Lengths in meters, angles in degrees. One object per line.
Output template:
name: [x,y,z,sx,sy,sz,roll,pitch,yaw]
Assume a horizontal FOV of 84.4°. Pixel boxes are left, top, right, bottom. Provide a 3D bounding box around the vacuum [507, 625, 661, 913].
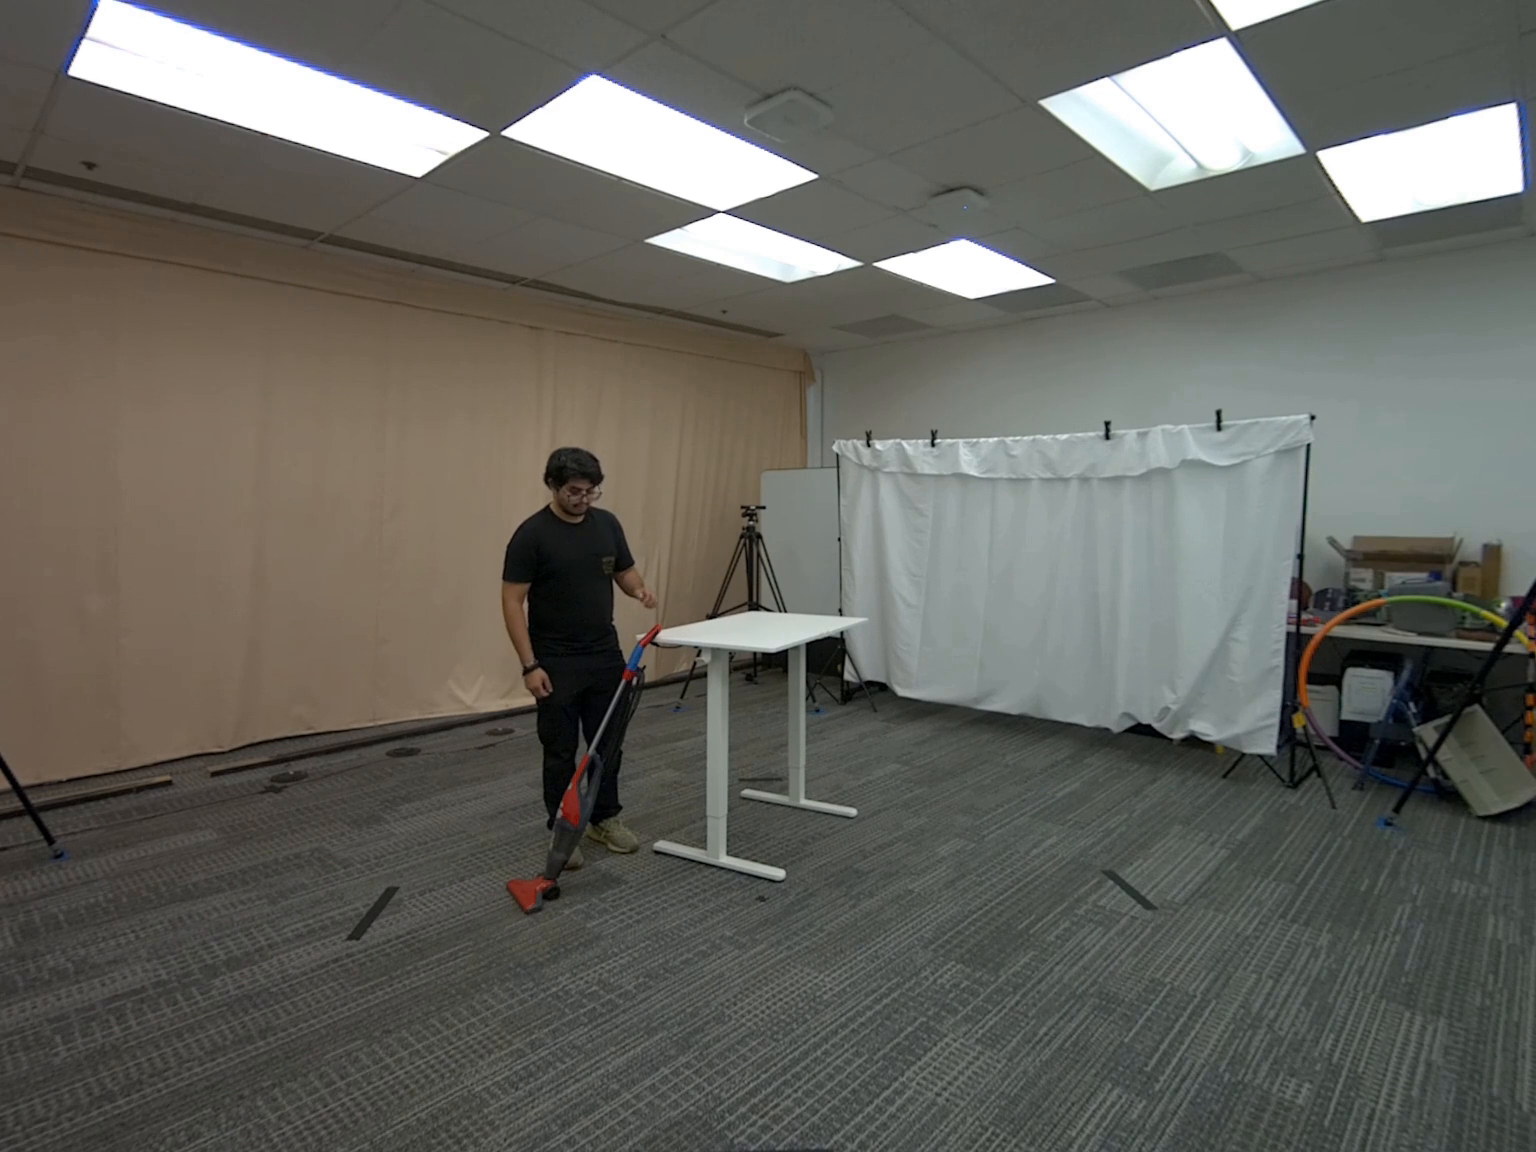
vacuum: [-0.624,0.672,3.128,0.261,1.051,0.139,9,-20,48]
